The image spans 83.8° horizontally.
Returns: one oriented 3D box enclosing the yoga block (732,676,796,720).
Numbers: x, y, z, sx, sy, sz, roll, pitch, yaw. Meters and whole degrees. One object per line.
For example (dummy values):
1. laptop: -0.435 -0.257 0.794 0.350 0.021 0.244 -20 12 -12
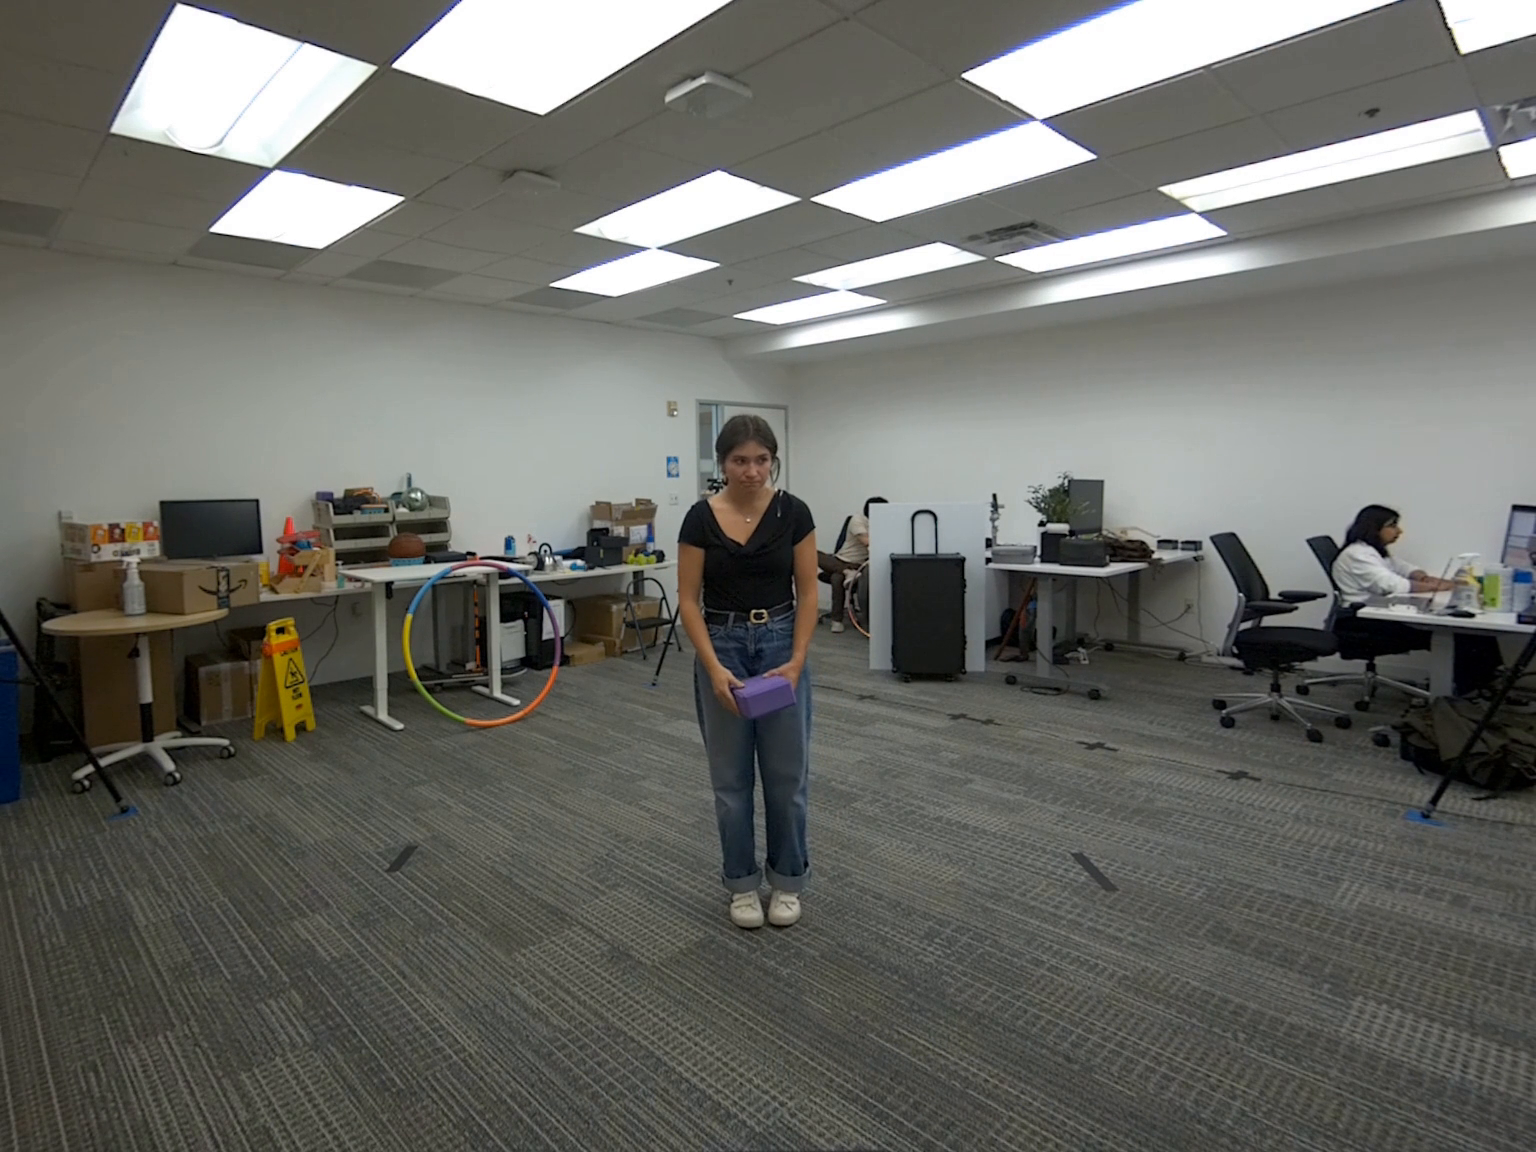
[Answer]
1. yoga block: -0.023 0.353 2.526 0.148 0.076 0.230 -15 2 -7
